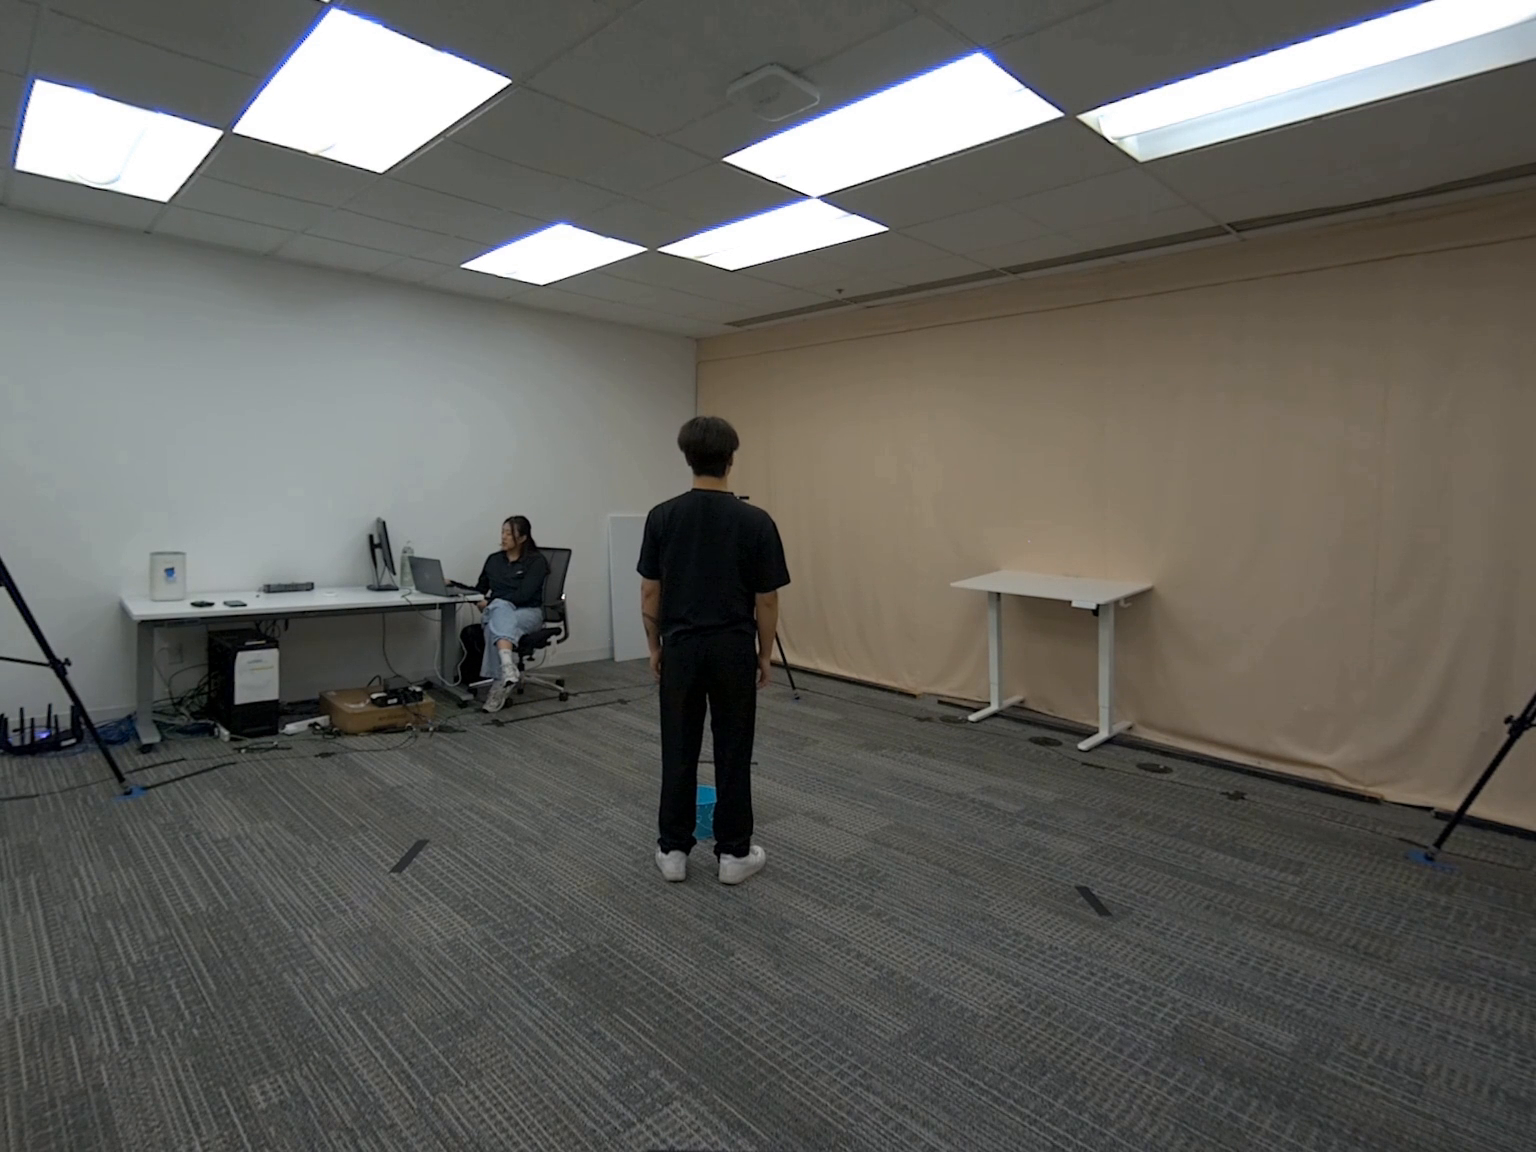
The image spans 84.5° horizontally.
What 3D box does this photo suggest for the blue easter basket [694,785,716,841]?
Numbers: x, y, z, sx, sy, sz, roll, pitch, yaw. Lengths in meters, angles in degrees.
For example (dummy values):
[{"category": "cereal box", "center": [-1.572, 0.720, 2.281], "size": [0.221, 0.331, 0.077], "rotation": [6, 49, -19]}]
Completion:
[{"category": "blue easter basket", "center": [-0.309, 0.987, 3.513], "size": [0.243, 0.155, 0.244], "rotation": [1, 5, -1]}]
